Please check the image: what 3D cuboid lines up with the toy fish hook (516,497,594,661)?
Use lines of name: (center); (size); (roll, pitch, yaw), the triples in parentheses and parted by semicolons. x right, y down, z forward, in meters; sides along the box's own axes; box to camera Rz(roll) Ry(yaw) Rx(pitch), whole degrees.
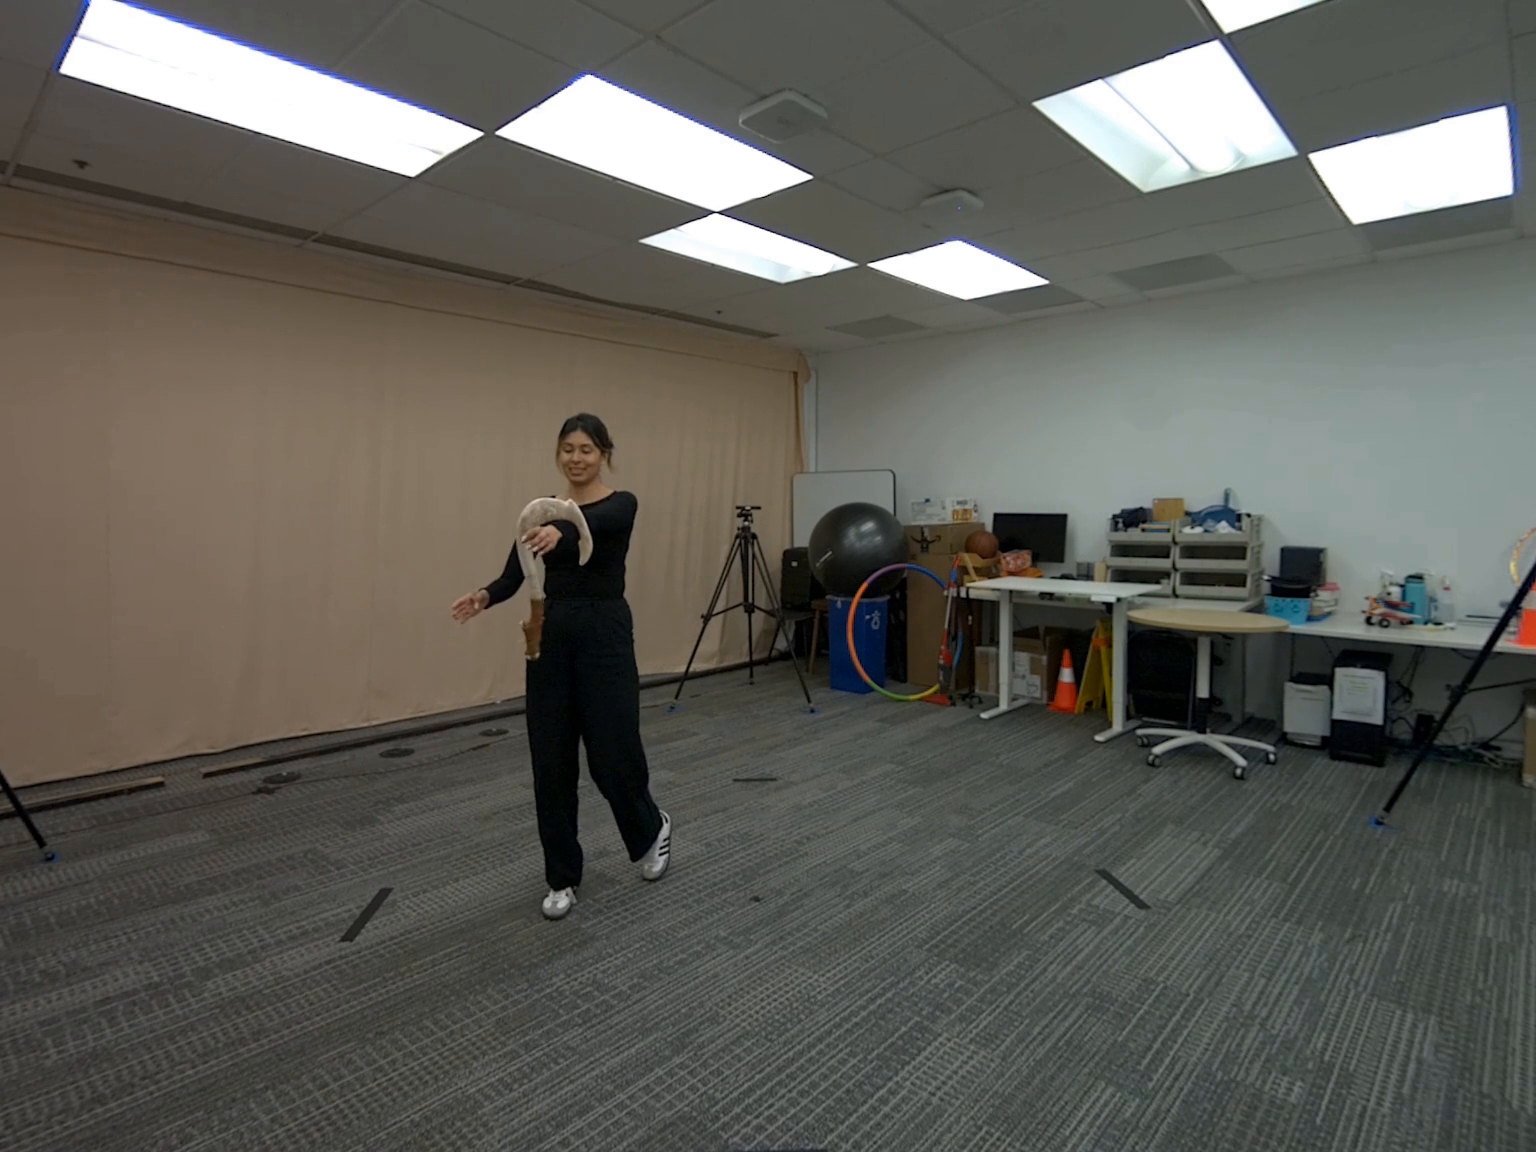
toy fish hook: (-0.635, 0.023, 2.540); (0.224, 0.503, 0.048); (9, 13, -1)
